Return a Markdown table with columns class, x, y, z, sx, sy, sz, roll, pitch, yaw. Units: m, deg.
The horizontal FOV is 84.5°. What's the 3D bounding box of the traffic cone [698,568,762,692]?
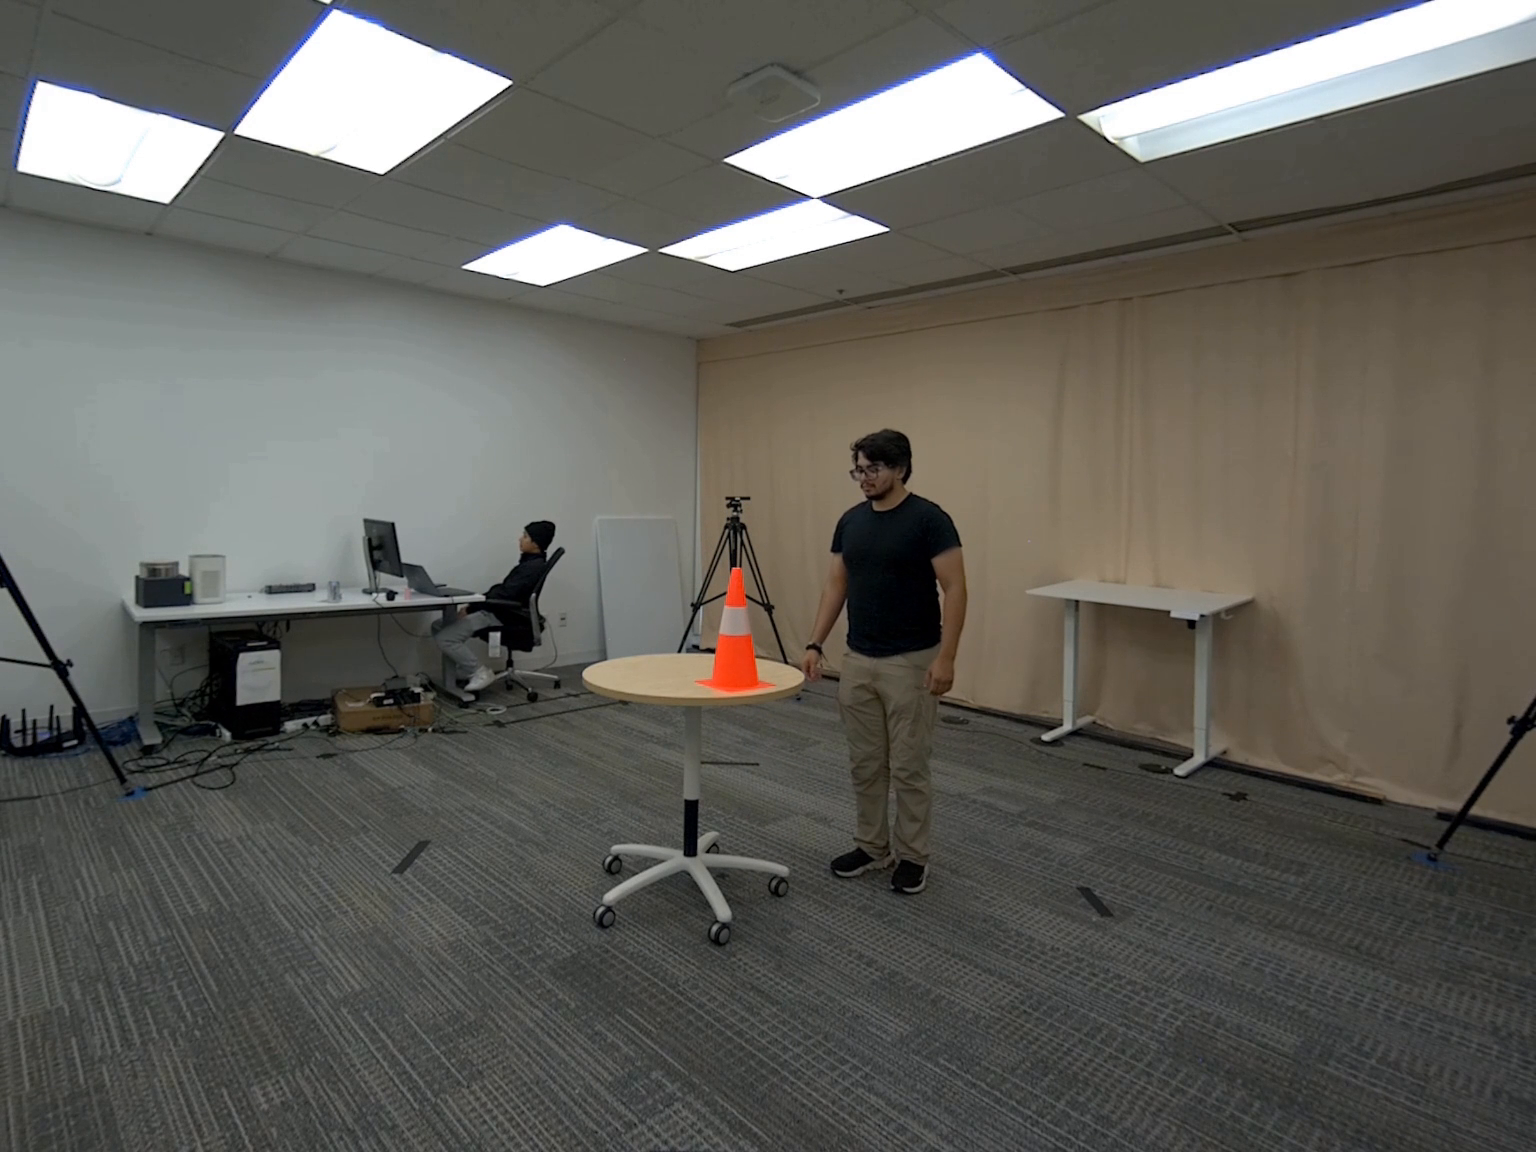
| class | x | y | z | sx | sy | sz | roll | pitch | yaw |
| --- | --- | --- | --- | --- | --- | --- | --- | --- | --- |
| traffic cone | -0.107 | 0.168 | 2.738 | 0.208 | 0.383 | 0.200 | 3 | 3 | 37 |
